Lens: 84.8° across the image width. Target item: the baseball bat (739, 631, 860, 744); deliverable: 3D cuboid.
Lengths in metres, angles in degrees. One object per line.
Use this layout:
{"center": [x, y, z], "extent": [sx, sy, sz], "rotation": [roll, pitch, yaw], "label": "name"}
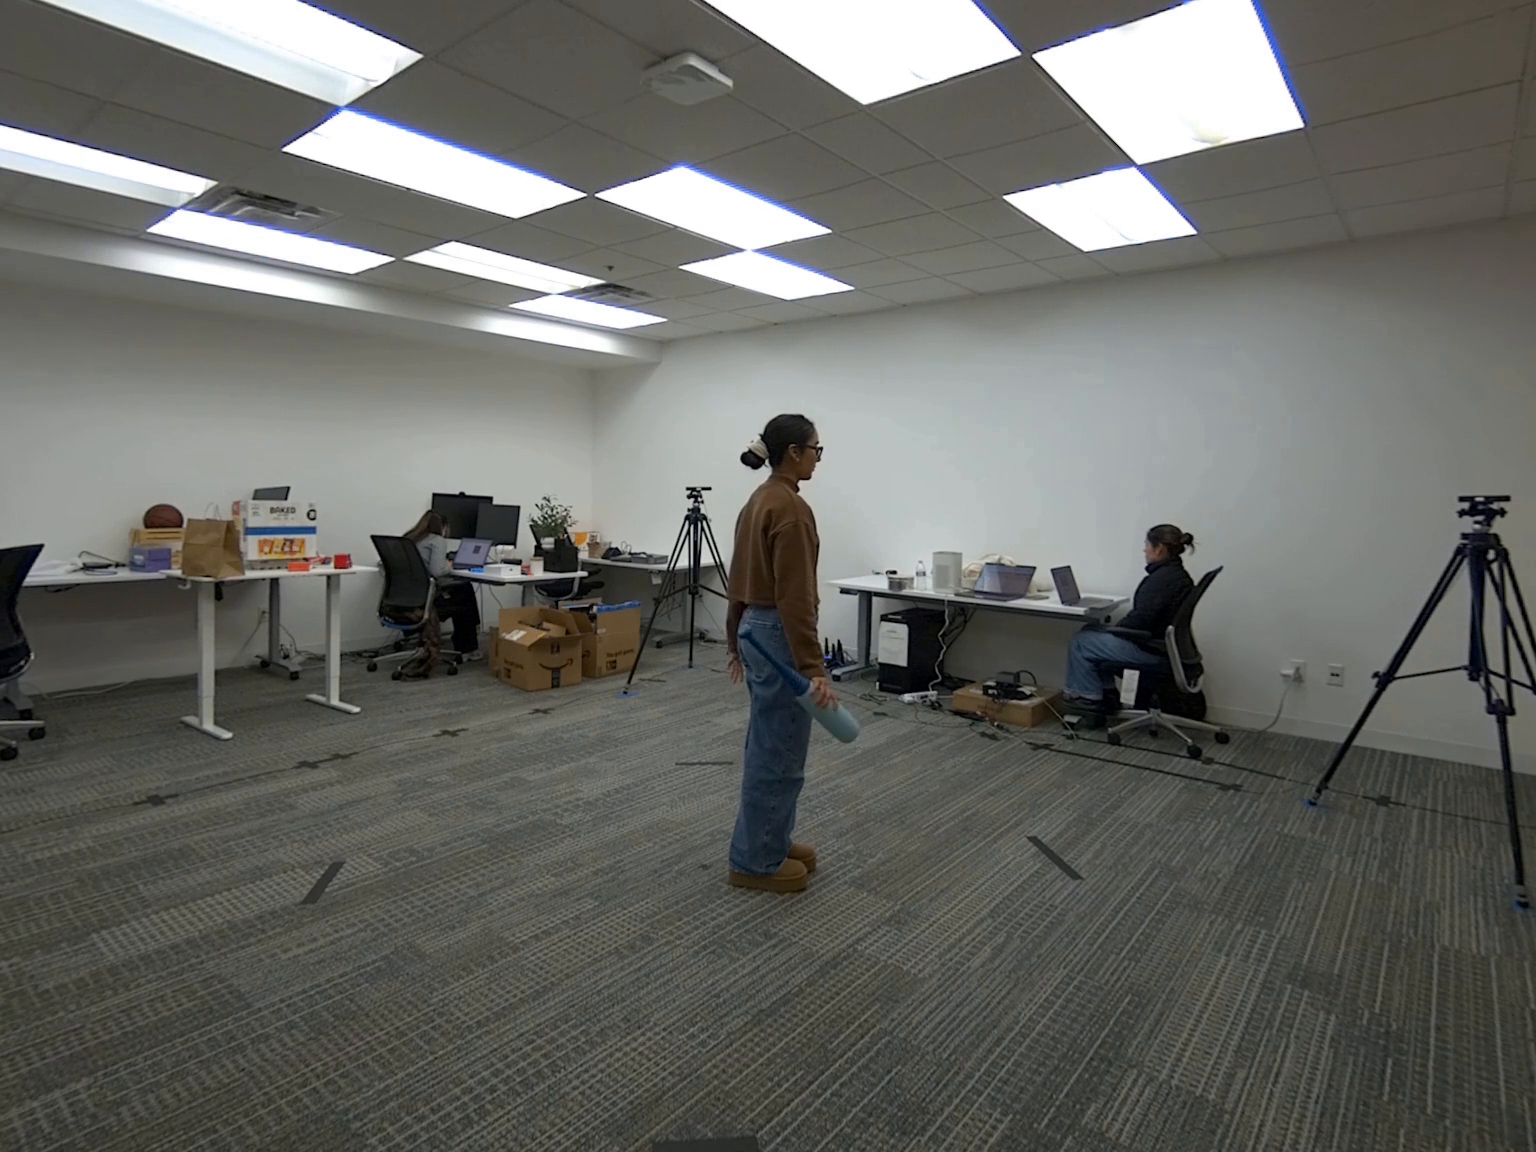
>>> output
{"center": [0.096, 0.327, 2.676], "extent": [0.528, 0.089, 0.091], "rotation": [45, -15, -20], "label": "baseball bat"}
